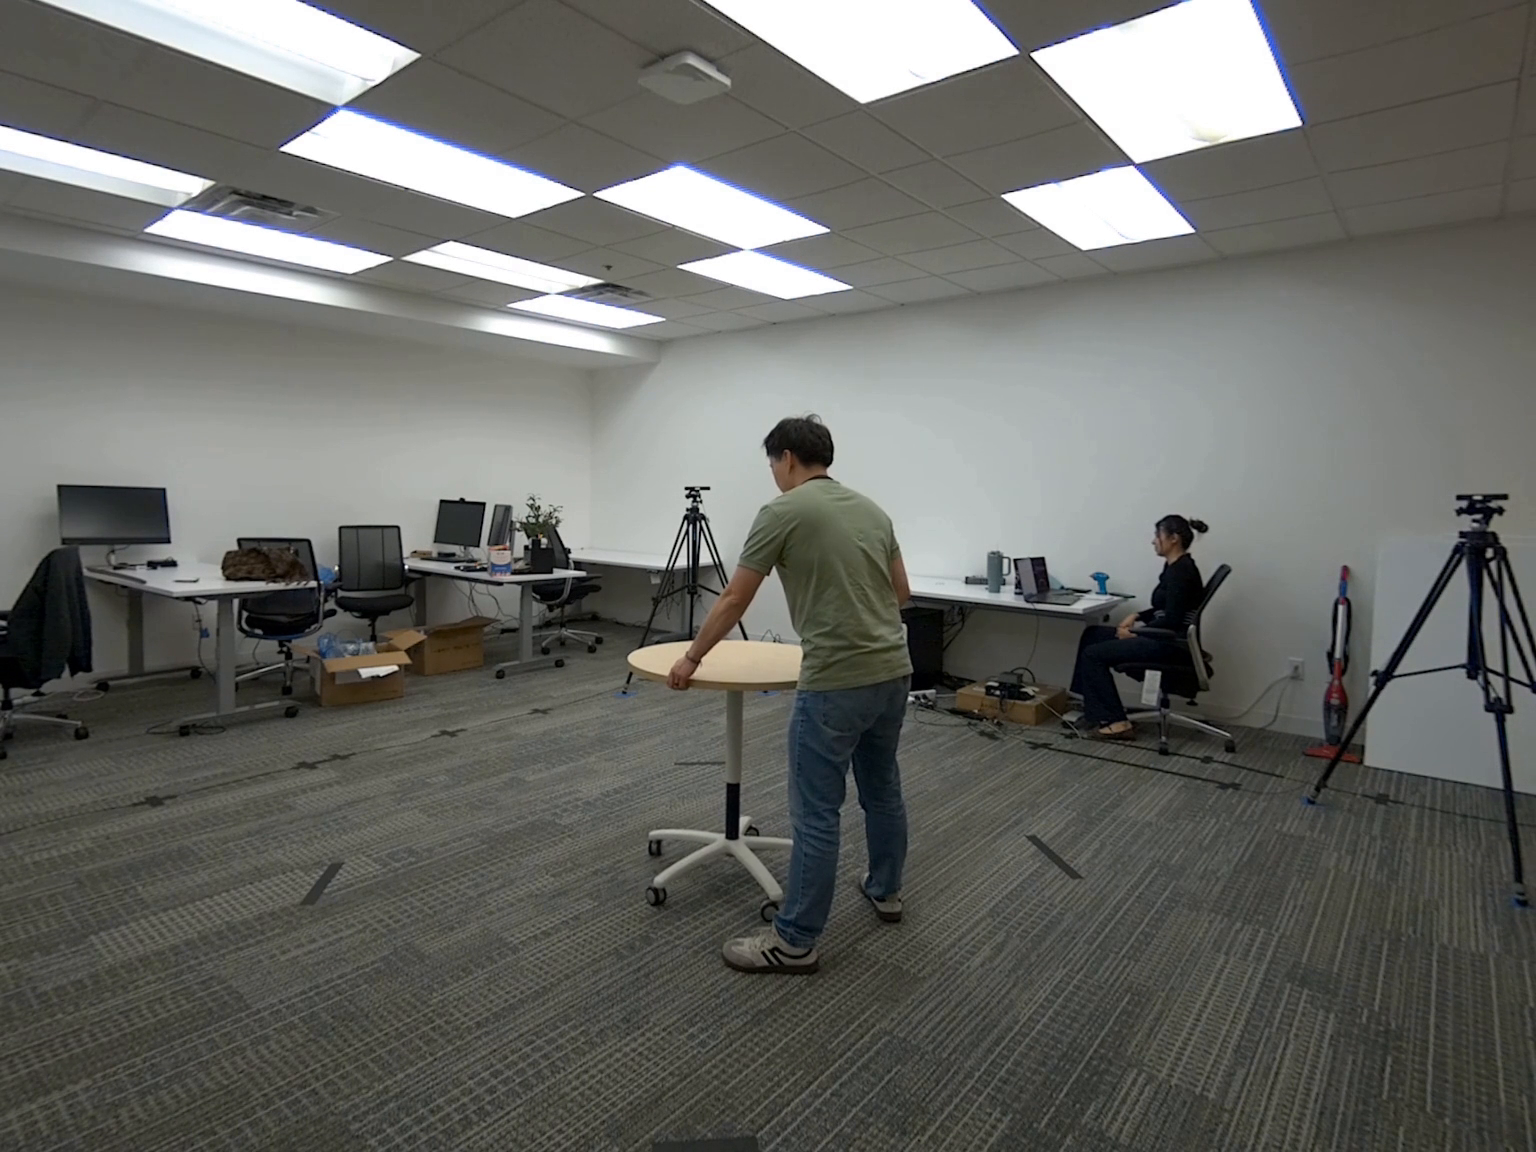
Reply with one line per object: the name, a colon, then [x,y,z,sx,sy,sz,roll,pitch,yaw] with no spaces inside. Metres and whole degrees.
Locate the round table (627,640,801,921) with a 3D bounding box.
round table: [-0.133,0.684,3.031,0.763,0.791,0.768,1,4,-2]
